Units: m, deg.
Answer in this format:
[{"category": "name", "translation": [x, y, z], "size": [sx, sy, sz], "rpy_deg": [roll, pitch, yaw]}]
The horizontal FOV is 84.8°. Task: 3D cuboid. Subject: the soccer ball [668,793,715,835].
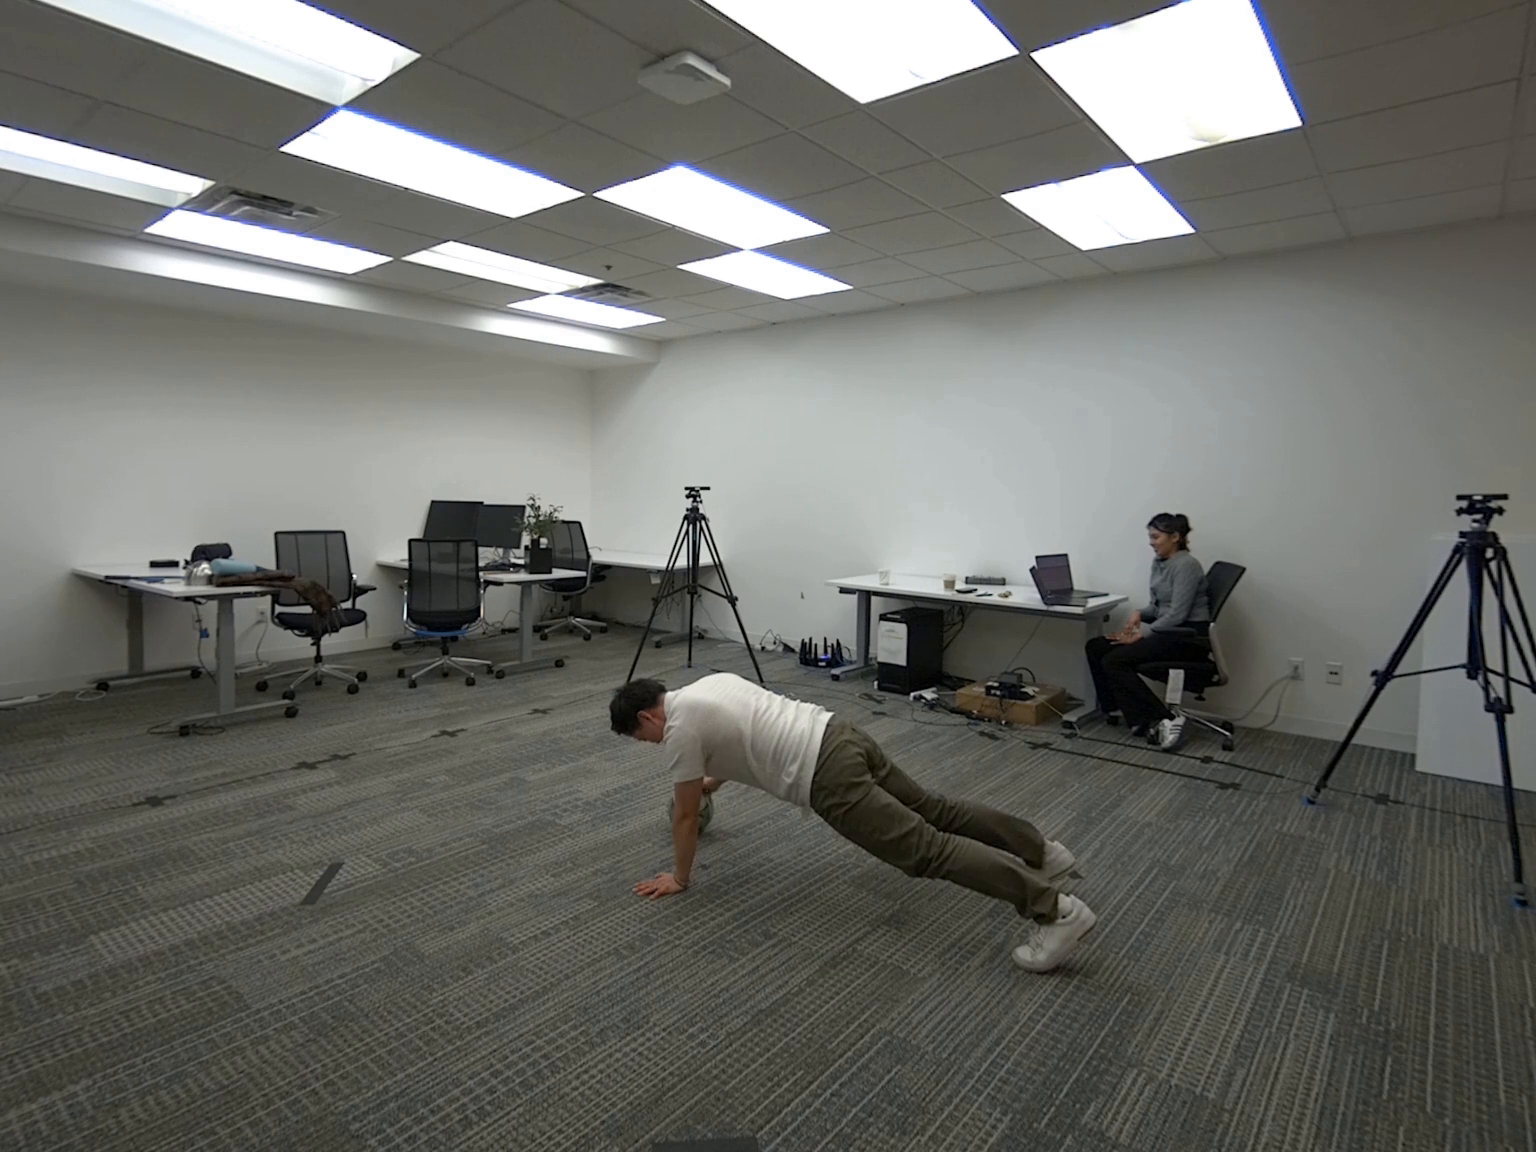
[{"category": "soccer ball", "translation": [-0.318, 0.934, 3.421], "size": [0.187, 0.187, 0.188], "rpy_deg": [1, 4, -2]}]
